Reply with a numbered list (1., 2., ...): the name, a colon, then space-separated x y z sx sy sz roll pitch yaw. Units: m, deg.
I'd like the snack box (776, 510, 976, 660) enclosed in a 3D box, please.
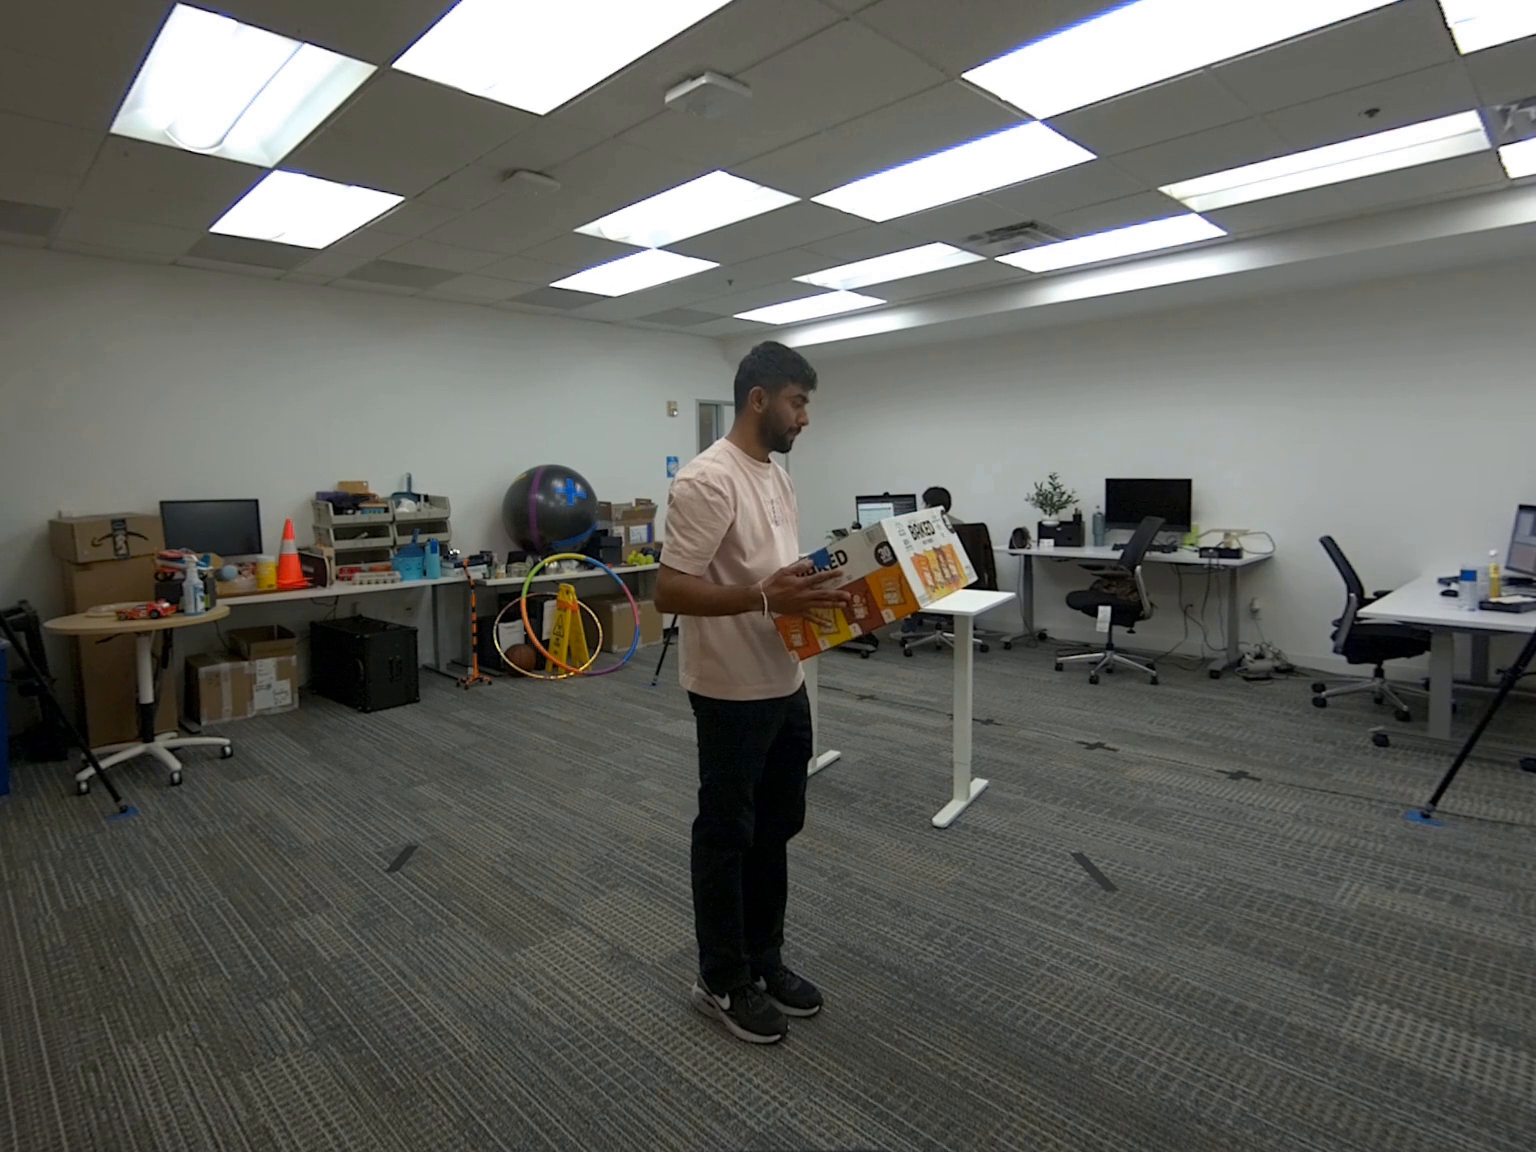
1. snack box: 0.242 0.018 2.008 0.344 0.207 0.397 -26 -6 31
